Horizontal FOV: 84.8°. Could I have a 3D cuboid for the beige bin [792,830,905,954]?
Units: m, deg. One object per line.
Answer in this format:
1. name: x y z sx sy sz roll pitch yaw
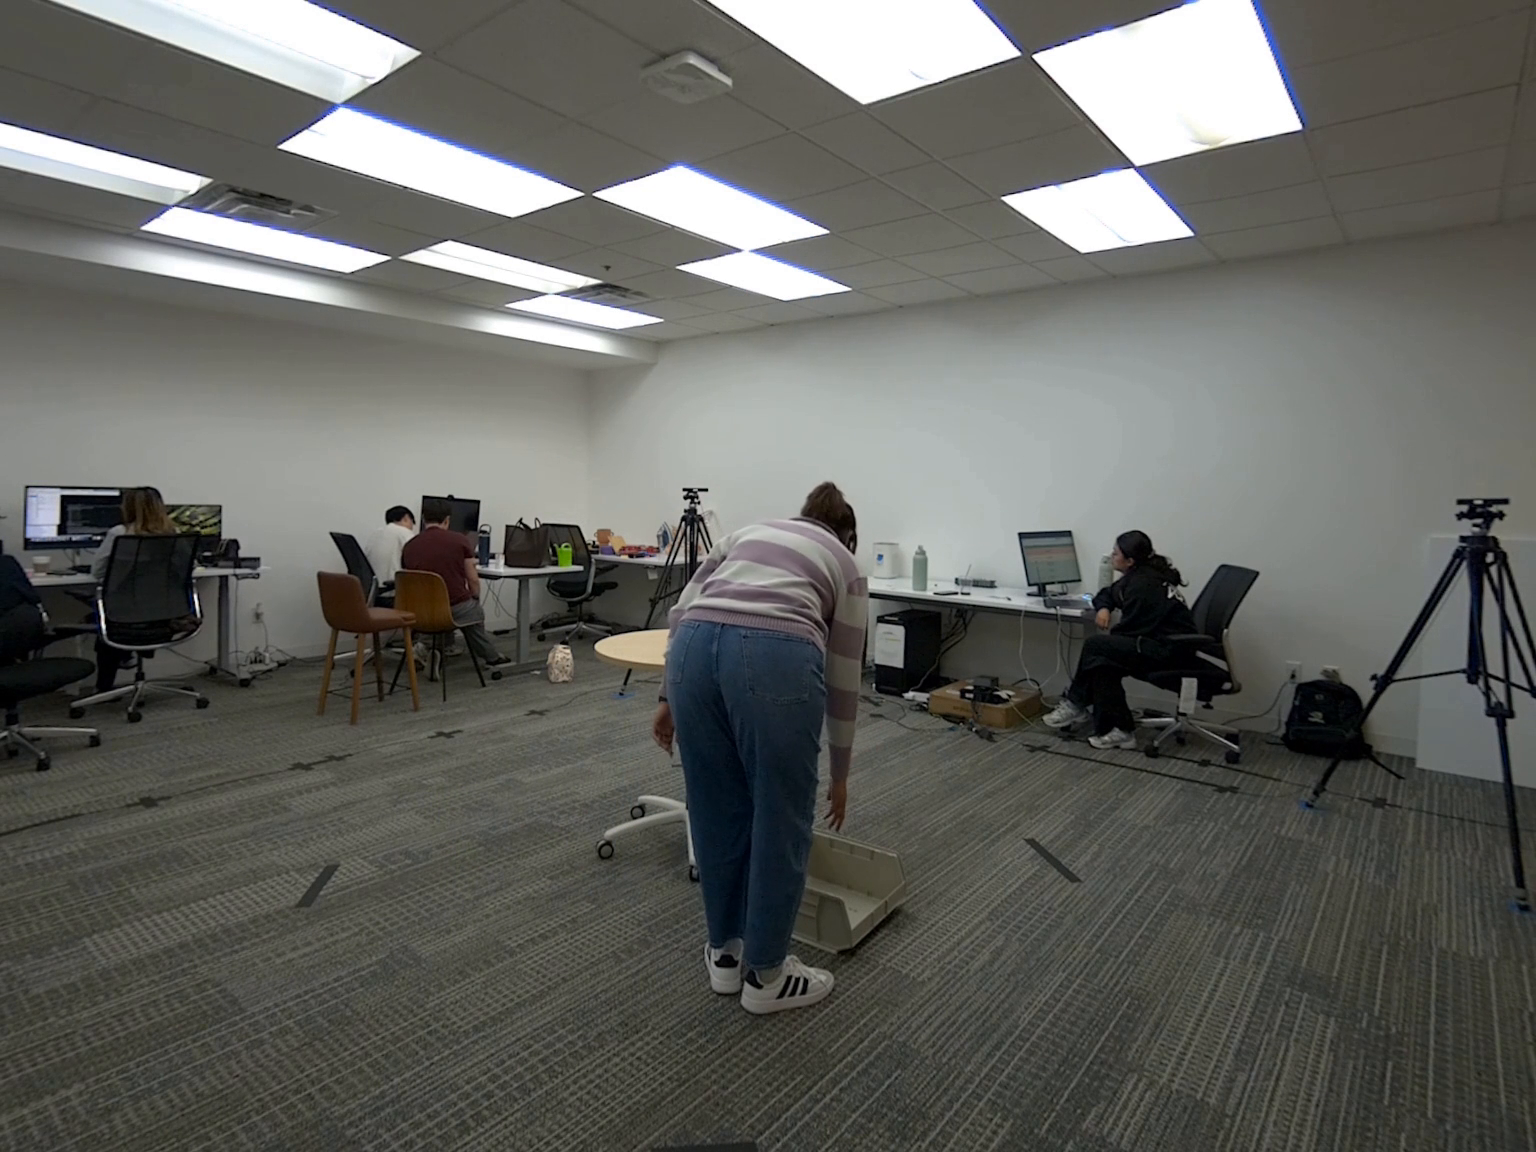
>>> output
1. beige bin: 0.193 1.020 2.789 0.389 0.188 0.411 4 6 33
